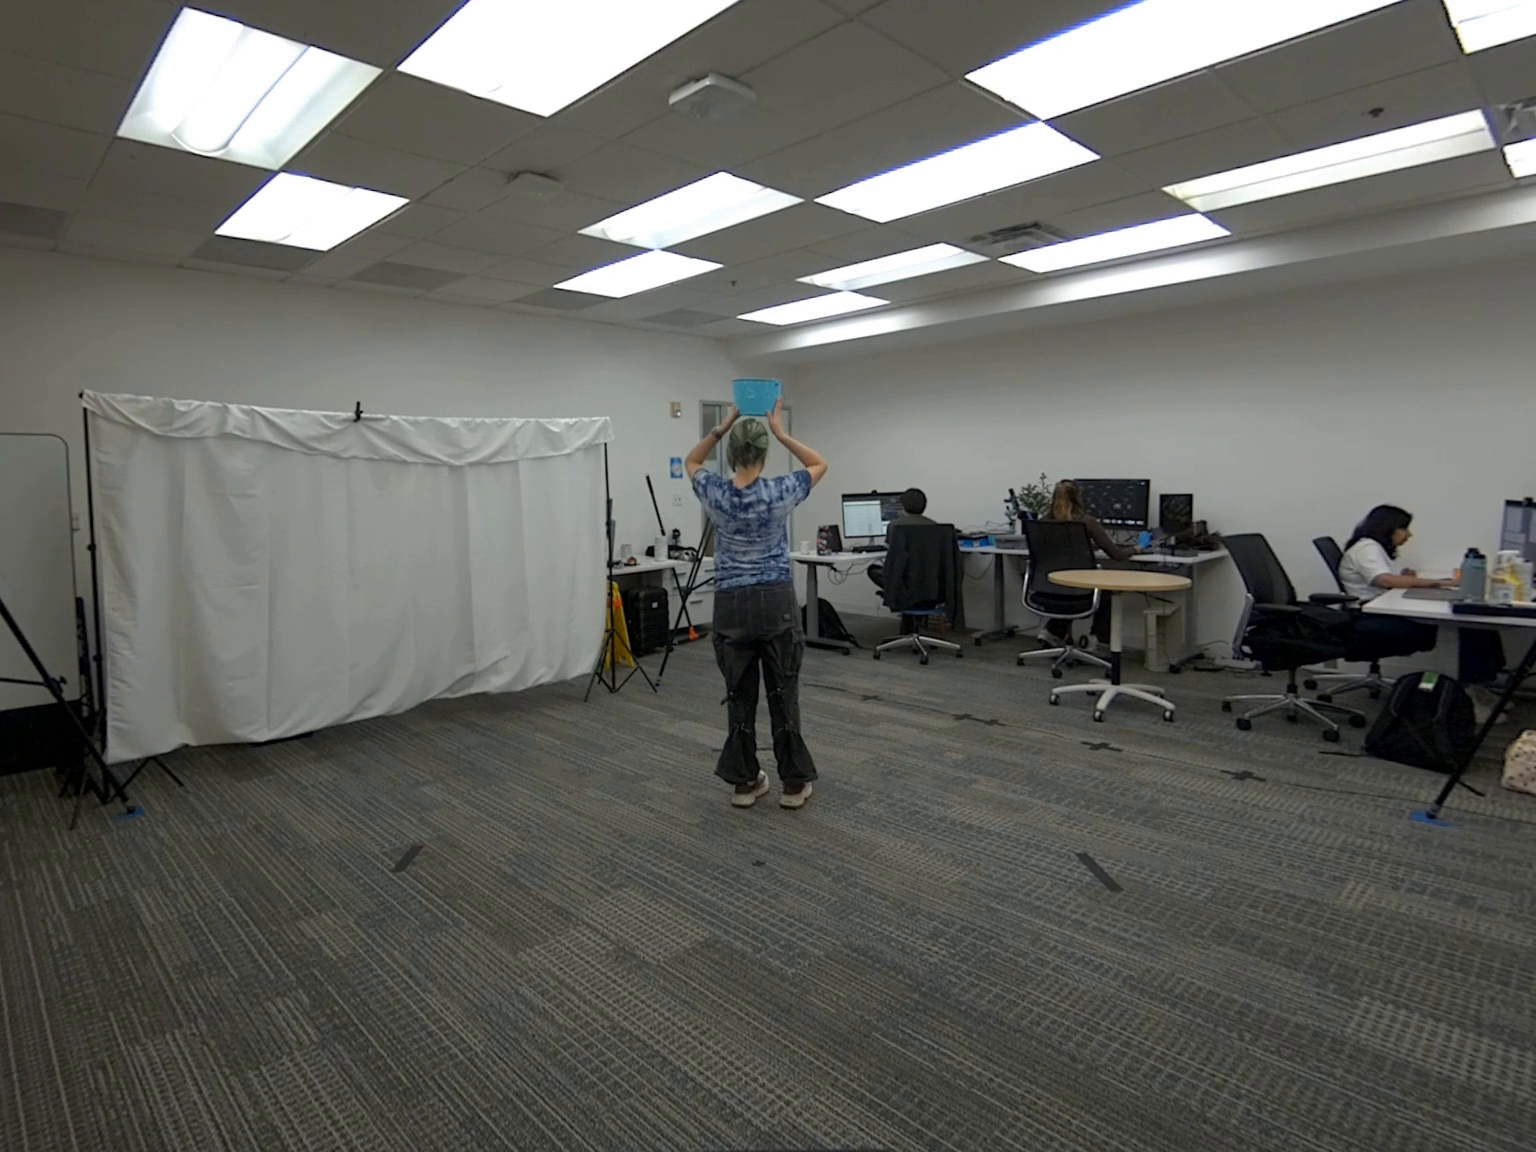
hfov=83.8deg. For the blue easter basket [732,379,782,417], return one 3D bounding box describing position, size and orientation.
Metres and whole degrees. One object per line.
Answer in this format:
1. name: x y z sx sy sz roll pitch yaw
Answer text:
1. blue easter basket: -0.048 -0.793 3.796 0.243 0.155 0.245 1 7 -2
